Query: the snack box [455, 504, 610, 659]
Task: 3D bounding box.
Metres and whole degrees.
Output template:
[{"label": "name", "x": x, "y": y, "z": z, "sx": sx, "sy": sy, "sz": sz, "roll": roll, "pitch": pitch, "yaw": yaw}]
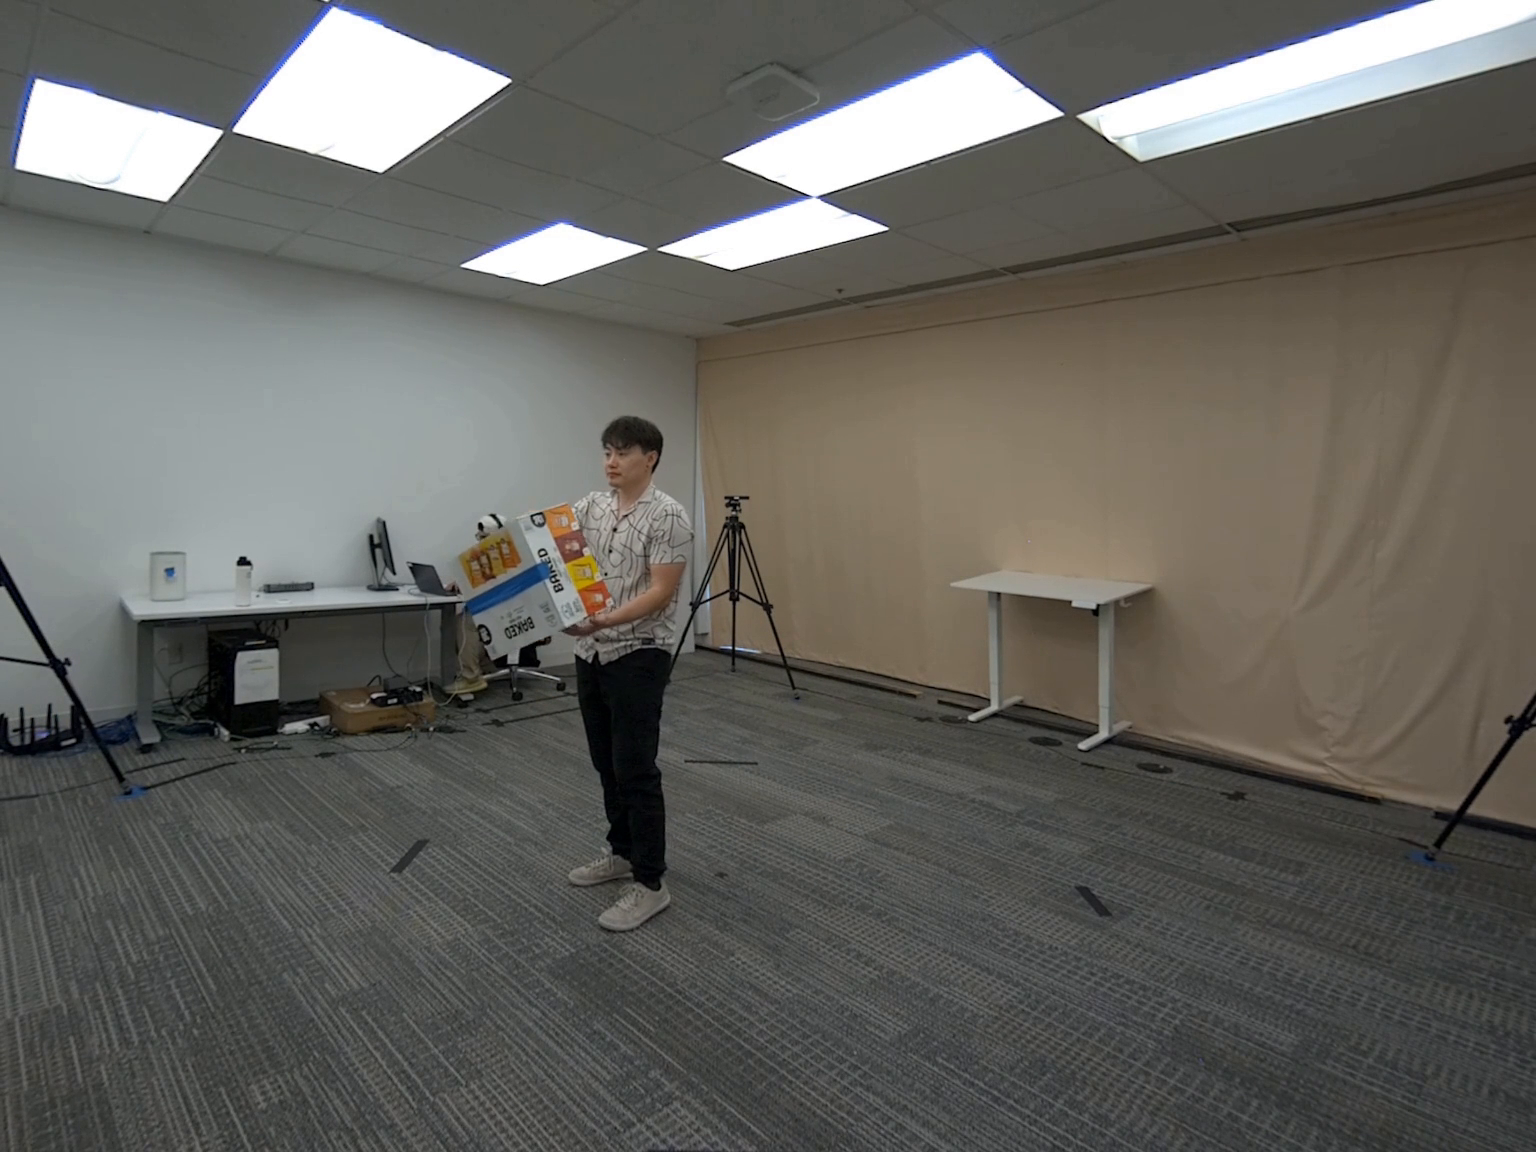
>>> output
[{"label": "snack box", "x": -0.745, "y": 0.024, "z": 2.568, "sx": 0.410, "sy": 0.340, "sz": 0.203, "roll": -23, "pitch": 1, "yaw": 39}]
